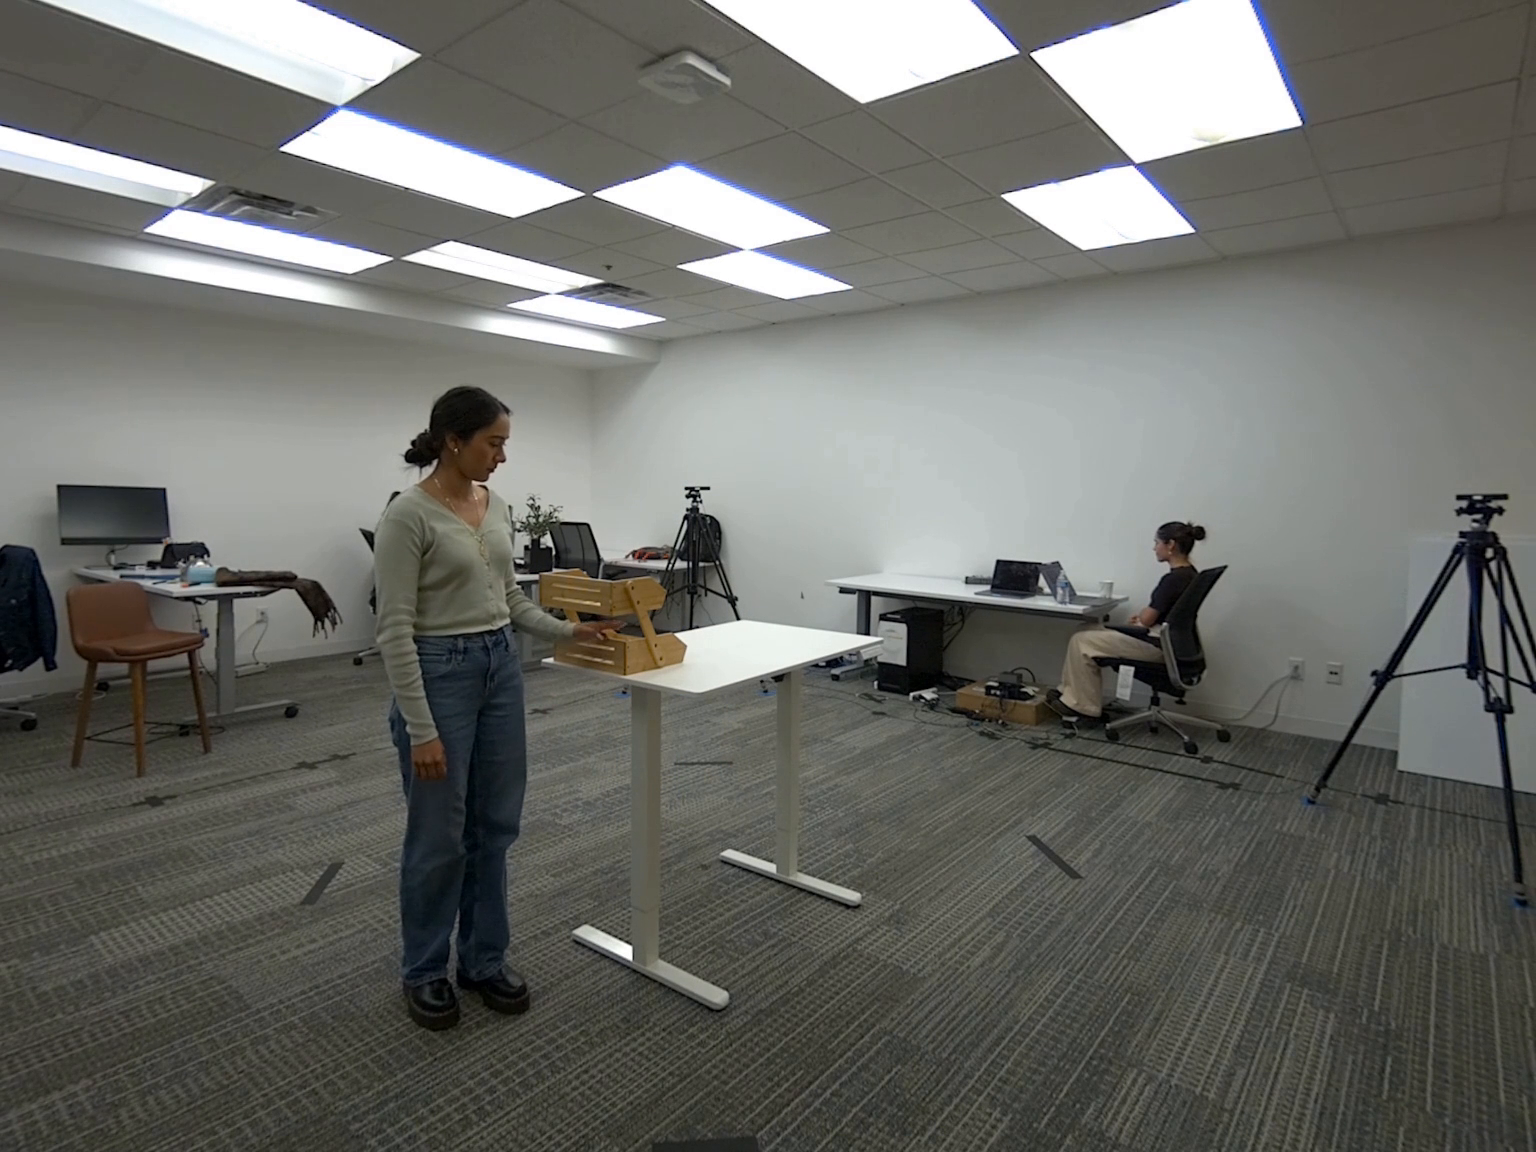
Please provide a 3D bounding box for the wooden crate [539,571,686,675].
[{"bbox_3d":[-0.452,0.116,2.455,0.335,0.272,0.294,5,7,37],"label":"wooden crate"}]
